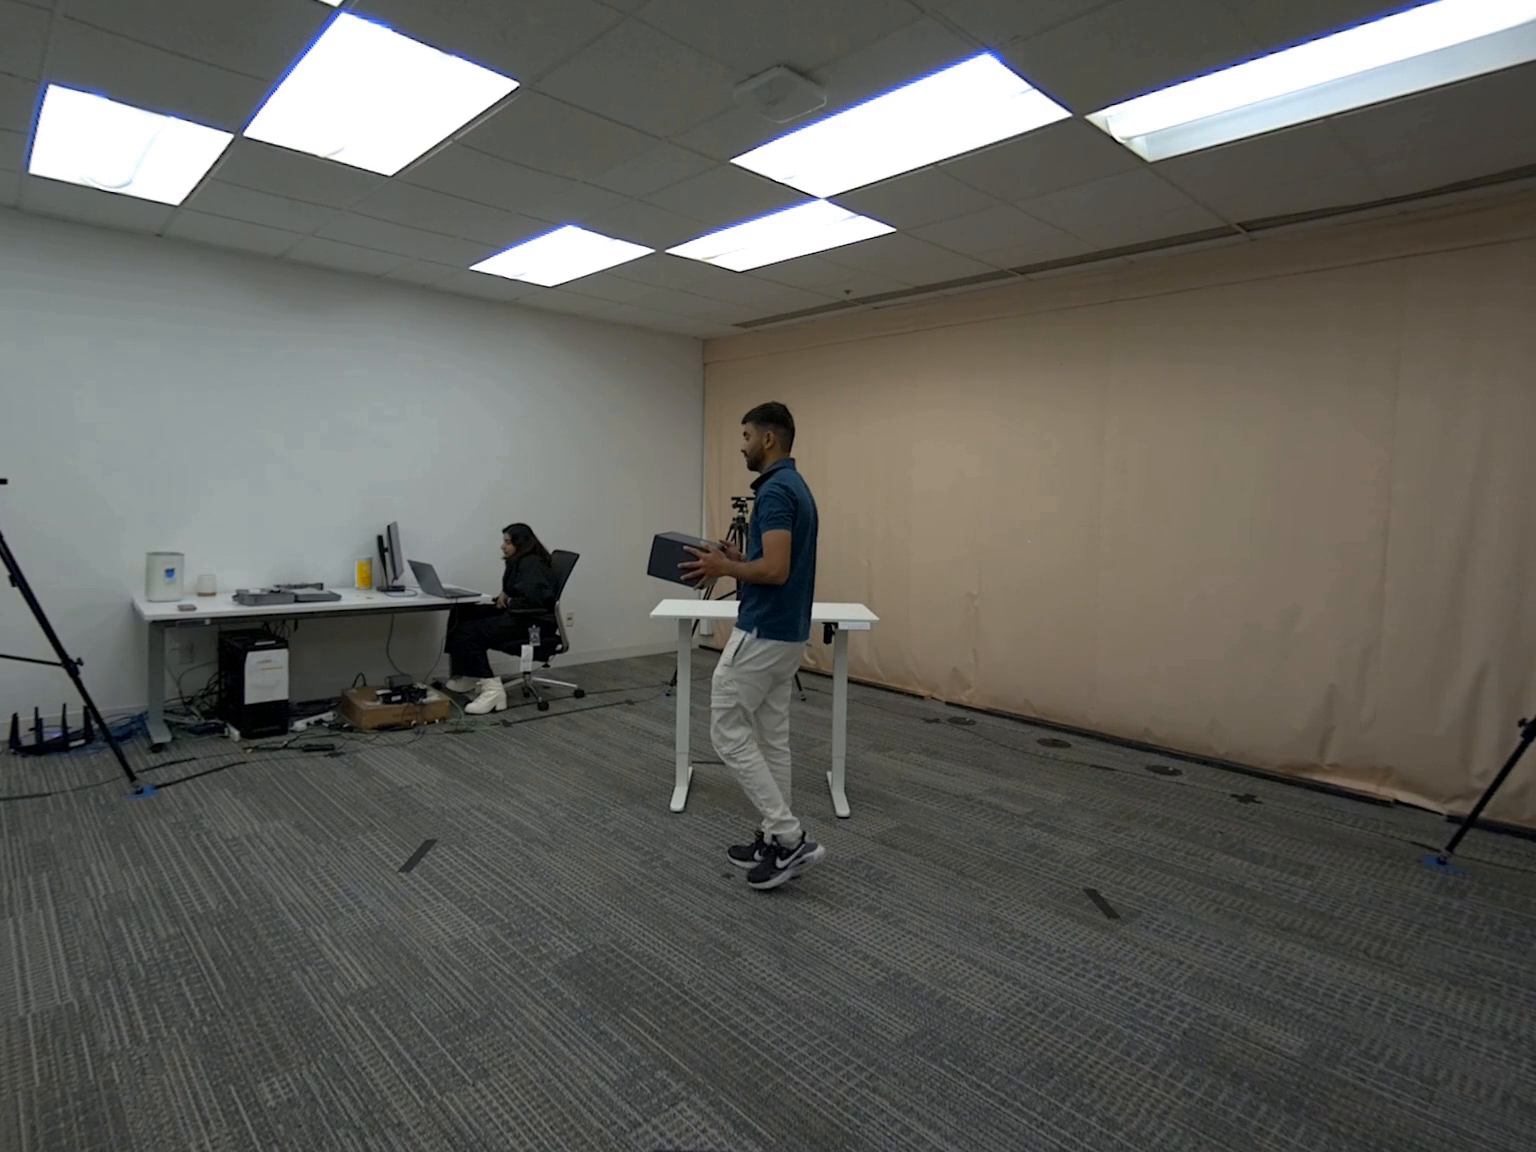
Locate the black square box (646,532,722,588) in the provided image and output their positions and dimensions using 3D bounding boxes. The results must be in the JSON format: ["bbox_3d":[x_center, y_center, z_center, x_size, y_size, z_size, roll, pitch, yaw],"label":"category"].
[{"bbox_3d":[-0.308,-0.066,3.214,0.231,0.155,0.215,14,5,12],"label":"black square box"}]
